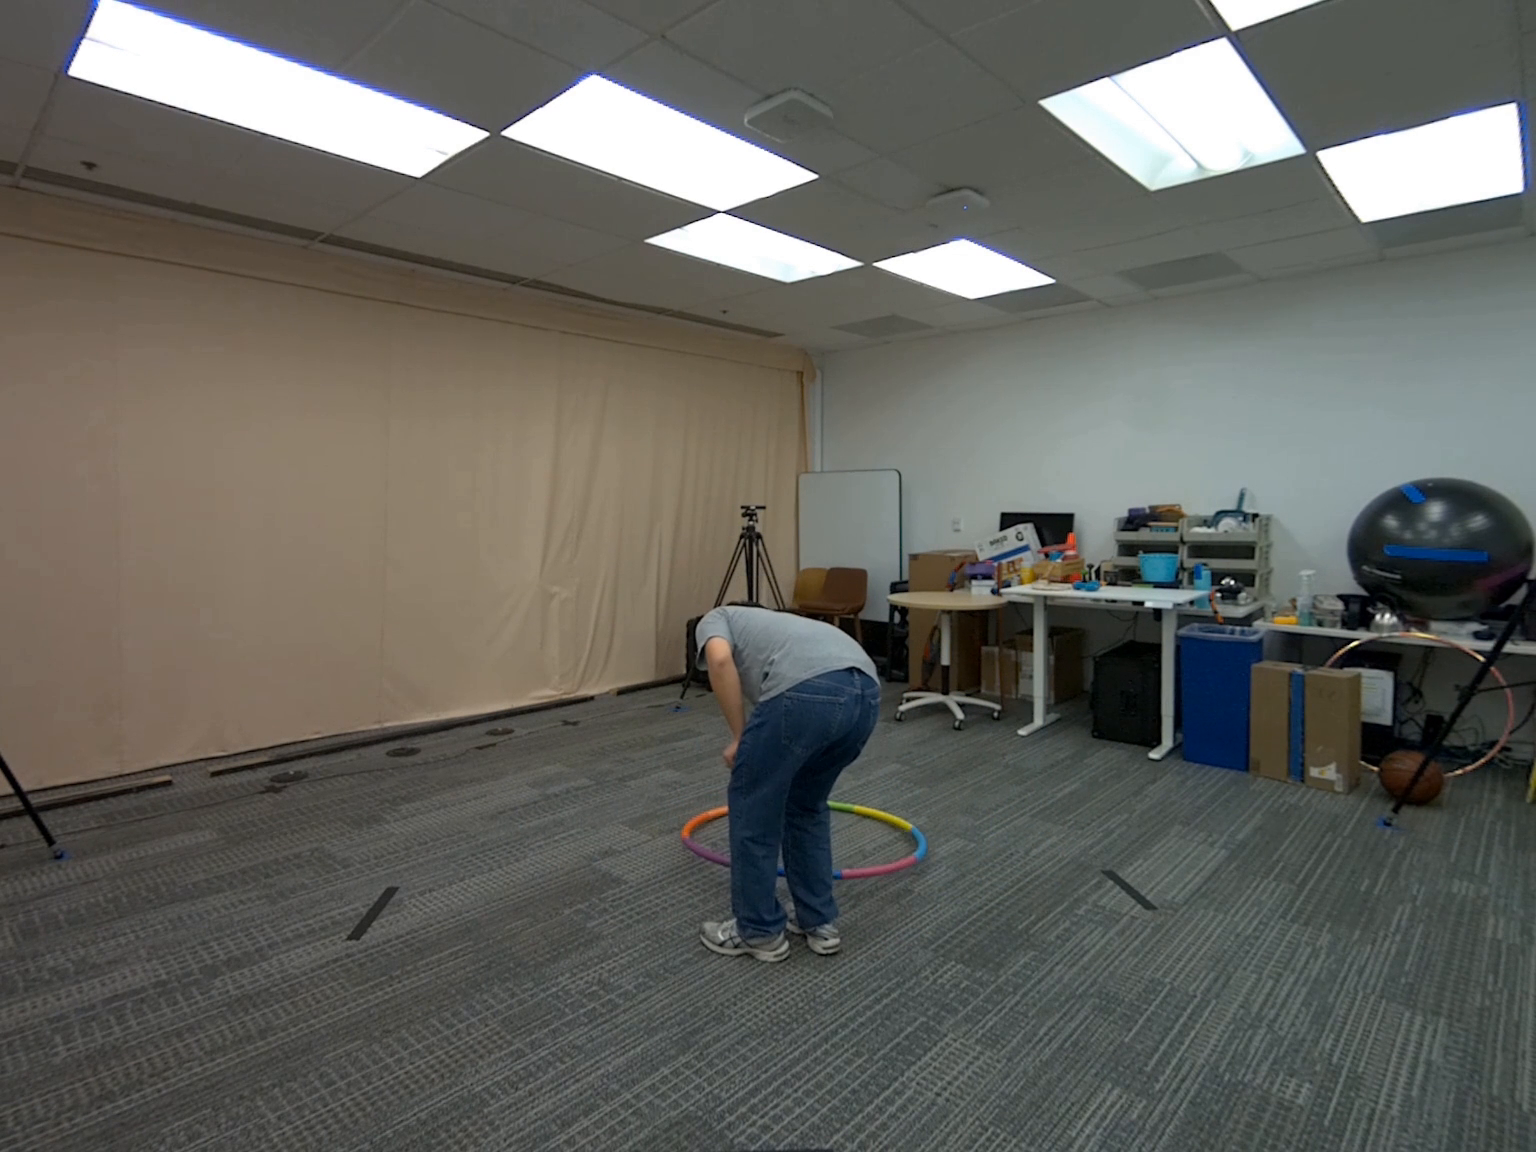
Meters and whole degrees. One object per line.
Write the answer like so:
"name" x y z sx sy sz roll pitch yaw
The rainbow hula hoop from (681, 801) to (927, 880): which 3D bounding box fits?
"rainbow hula hoop" 0.140 1.041 3.427 0.978 0.035 0.979 1 0 -2
